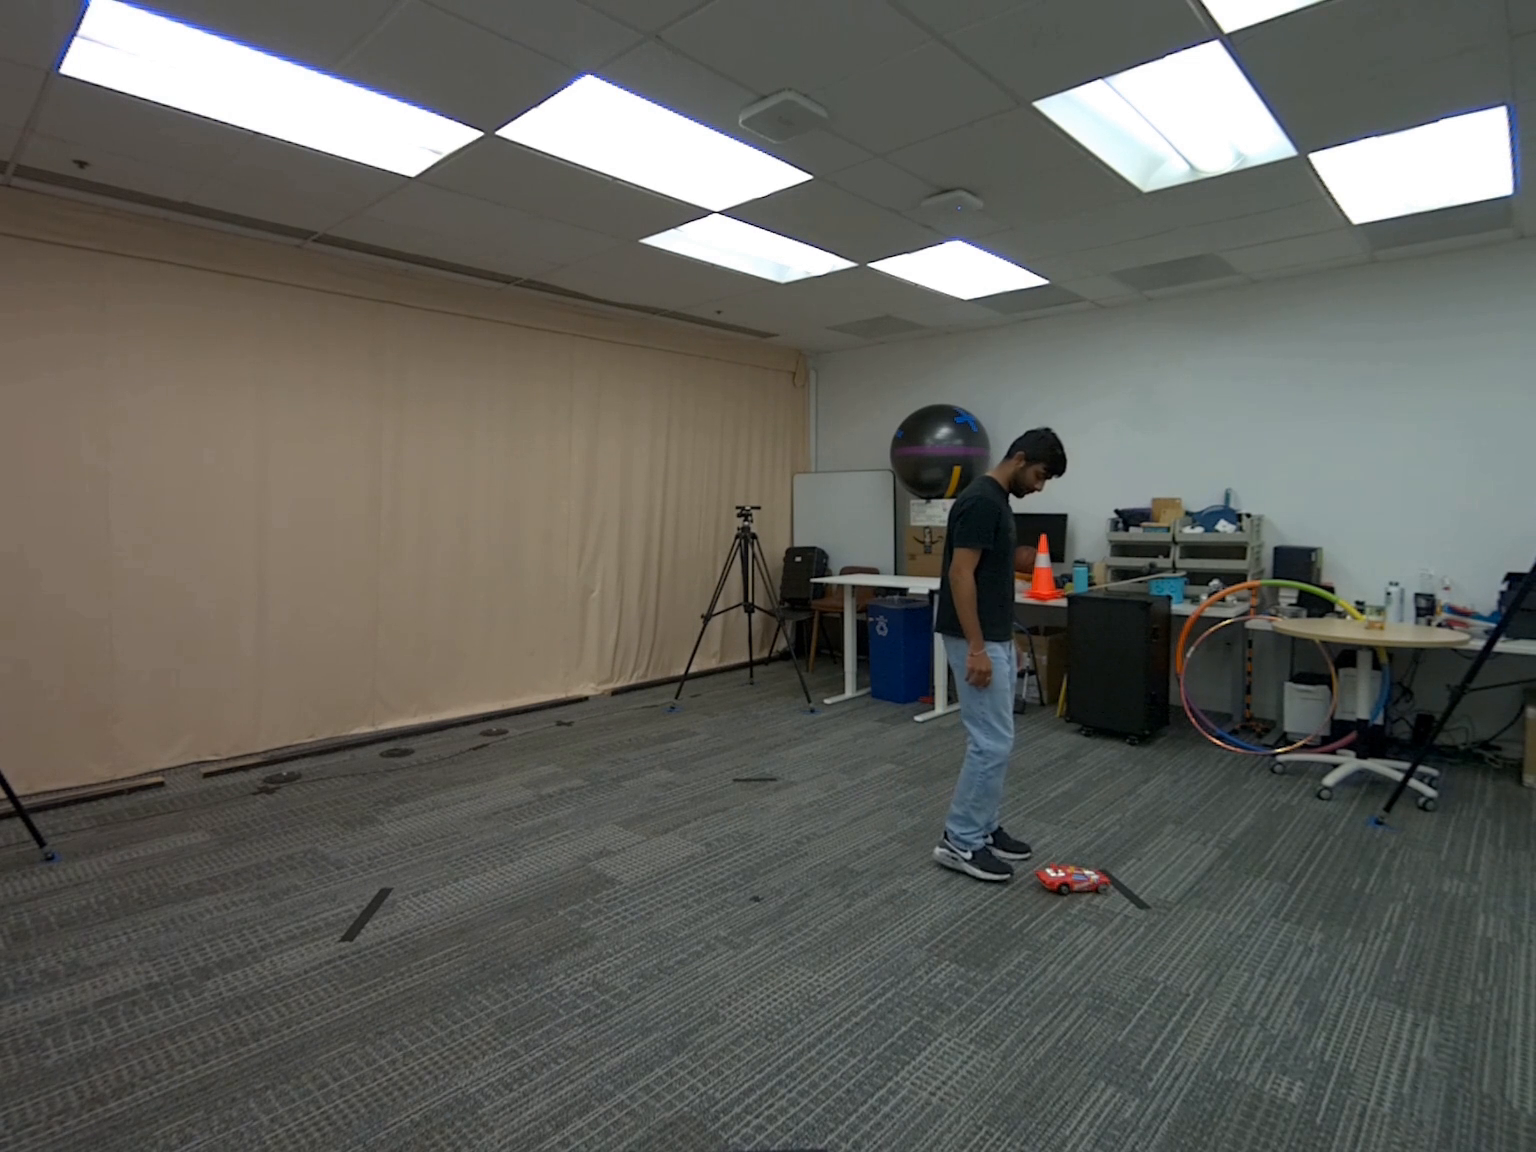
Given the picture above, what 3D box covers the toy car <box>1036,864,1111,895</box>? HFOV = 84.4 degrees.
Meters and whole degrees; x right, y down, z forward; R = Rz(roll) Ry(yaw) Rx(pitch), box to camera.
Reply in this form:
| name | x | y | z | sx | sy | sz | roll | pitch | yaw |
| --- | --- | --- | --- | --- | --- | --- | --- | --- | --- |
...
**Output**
| name | x | y | z | sx | sy | sz | roll | pitch | yaw |
| --- | --- | --- | --- | --- | --- | --- | --- | --- | --- |
| toy car | 1.112 | 1.109 | 3.053 | 0.253 | 0.083 | 0.131 | 10 | 4 | -6 |
